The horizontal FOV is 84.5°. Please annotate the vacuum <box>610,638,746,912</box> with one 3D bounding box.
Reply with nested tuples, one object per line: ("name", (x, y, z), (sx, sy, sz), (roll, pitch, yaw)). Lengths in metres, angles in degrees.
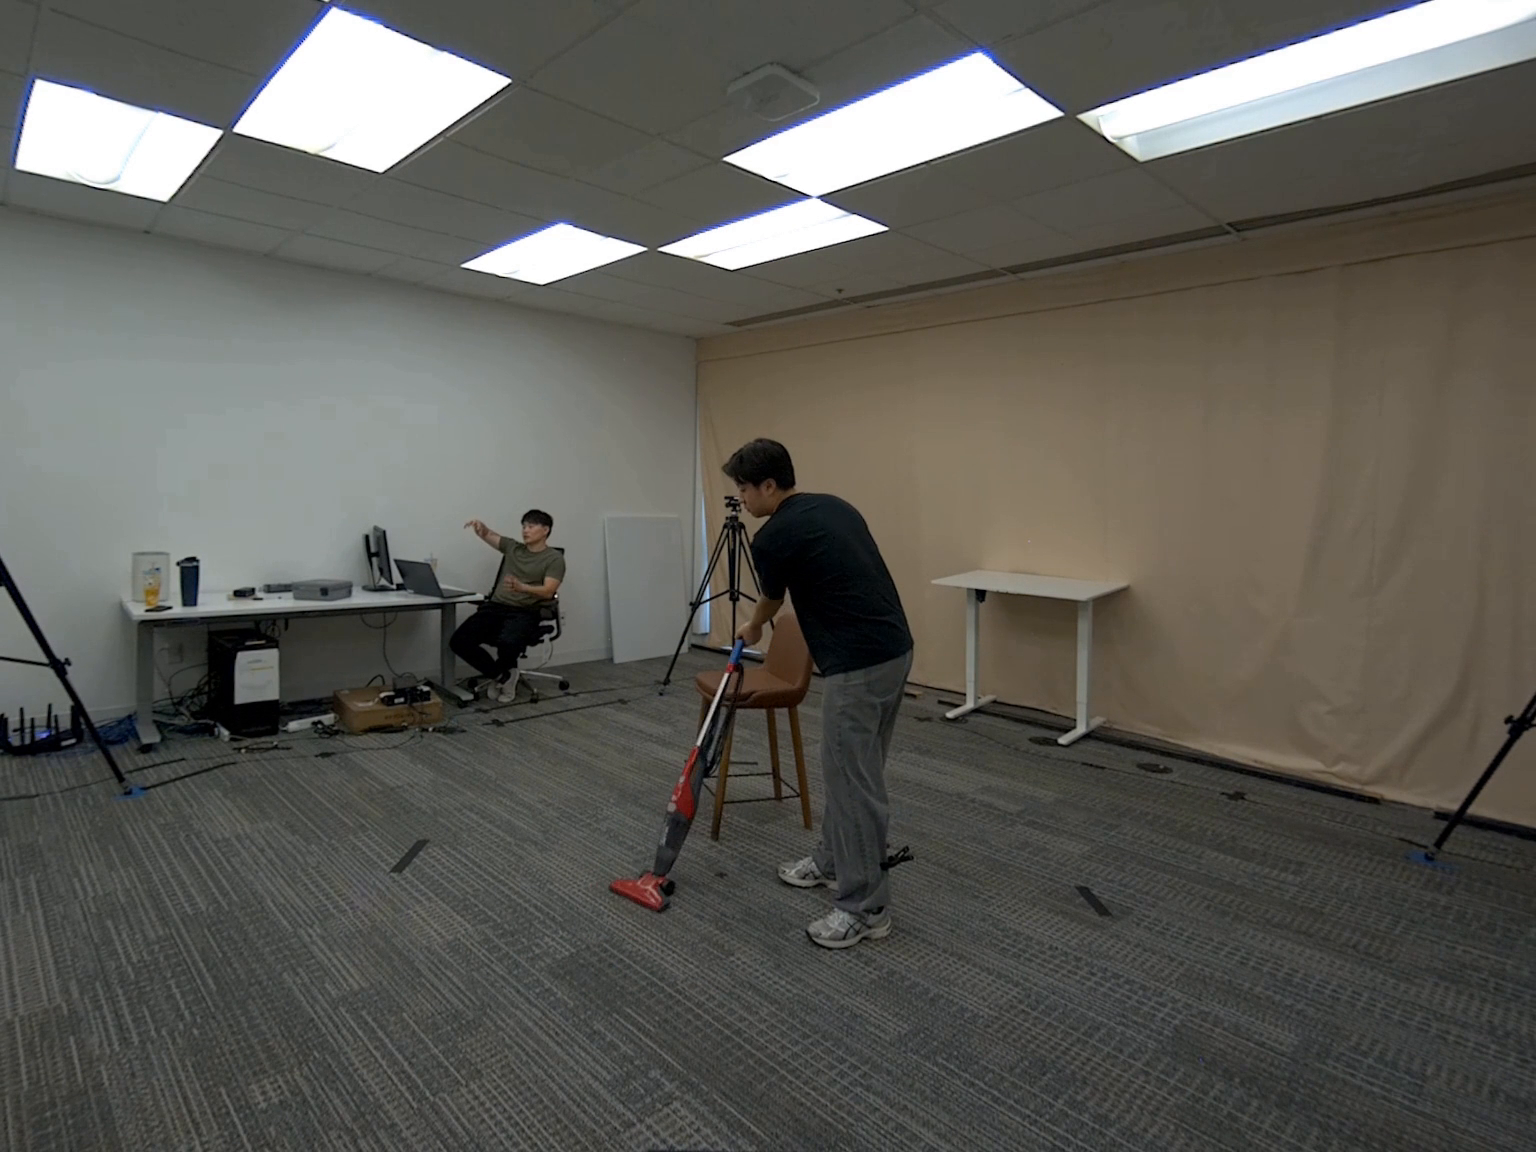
("vacuum", (-0.240, 0.659, 3.127), (0.259, 1.057, 0.139), (4, -29, 39))
